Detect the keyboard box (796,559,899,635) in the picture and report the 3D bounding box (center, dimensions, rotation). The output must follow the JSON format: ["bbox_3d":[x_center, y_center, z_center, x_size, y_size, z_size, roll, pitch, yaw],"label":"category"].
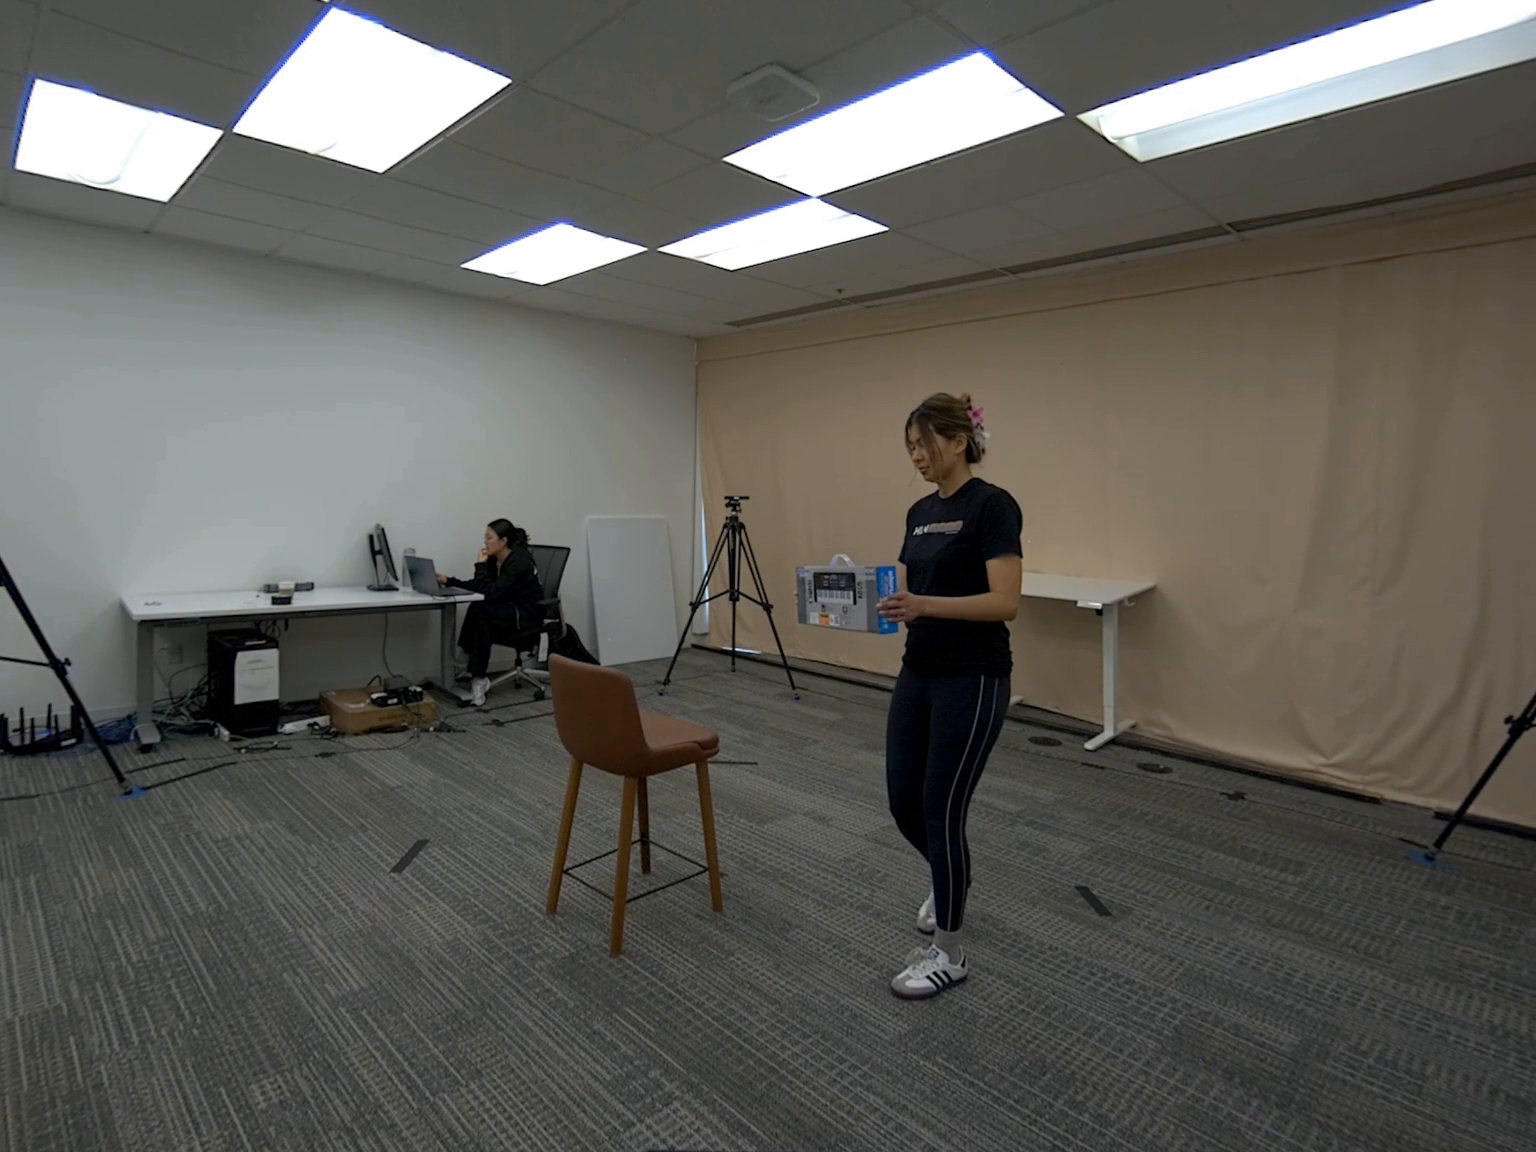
[{"bbox_3d":[0.208,0.065,2.326,0.058,0.176,0.444,-2,1,-26],"label":"keyboard box"}]
